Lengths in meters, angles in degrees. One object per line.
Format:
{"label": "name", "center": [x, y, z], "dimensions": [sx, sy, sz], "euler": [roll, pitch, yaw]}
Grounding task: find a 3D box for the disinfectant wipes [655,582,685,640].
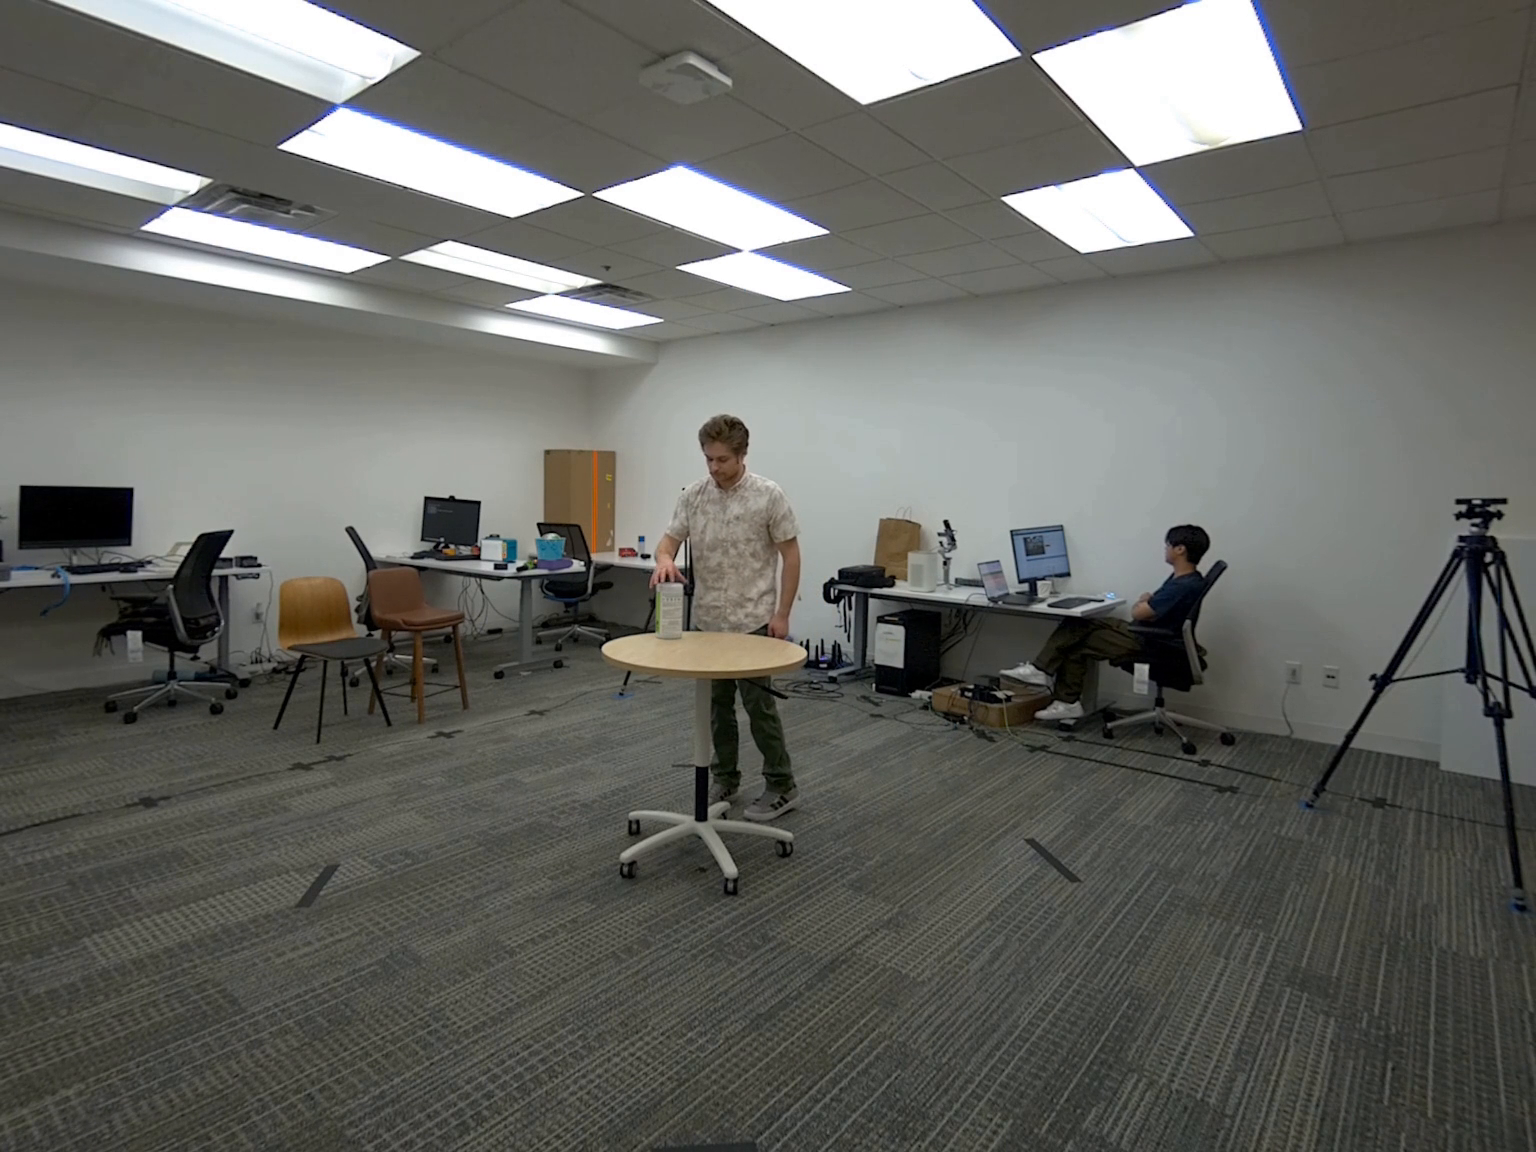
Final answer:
{"label": "disinfectant wipes", "center": [-0.406, 0.136, 3.408], "dimensions": [0.118, 0.216, 0.118], "euler": [-1, 4, -2]}
